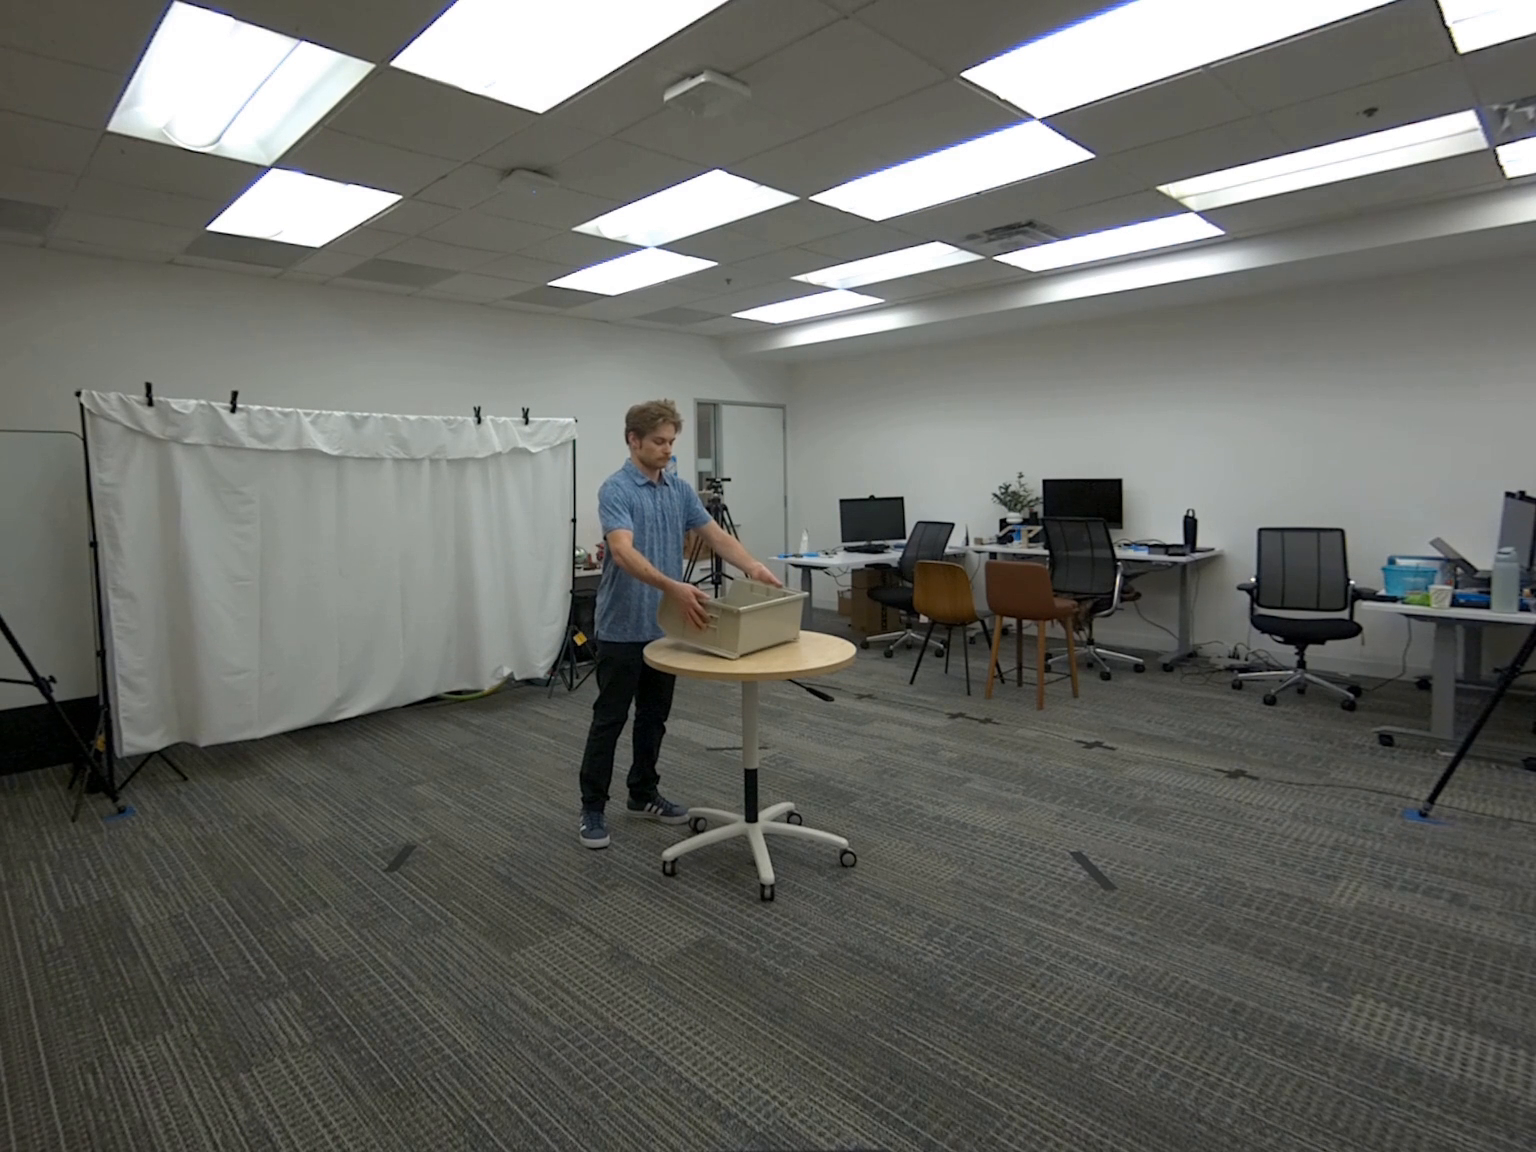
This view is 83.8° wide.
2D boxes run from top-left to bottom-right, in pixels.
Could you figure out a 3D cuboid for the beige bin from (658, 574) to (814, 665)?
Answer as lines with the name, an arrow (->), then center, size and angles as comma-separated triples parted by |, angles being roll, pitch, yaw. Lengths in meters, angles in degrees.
beige bin -> -0.118, 0.145, 3.138 | 0.390, 0.187, 0.412 | 13, 13, 35
